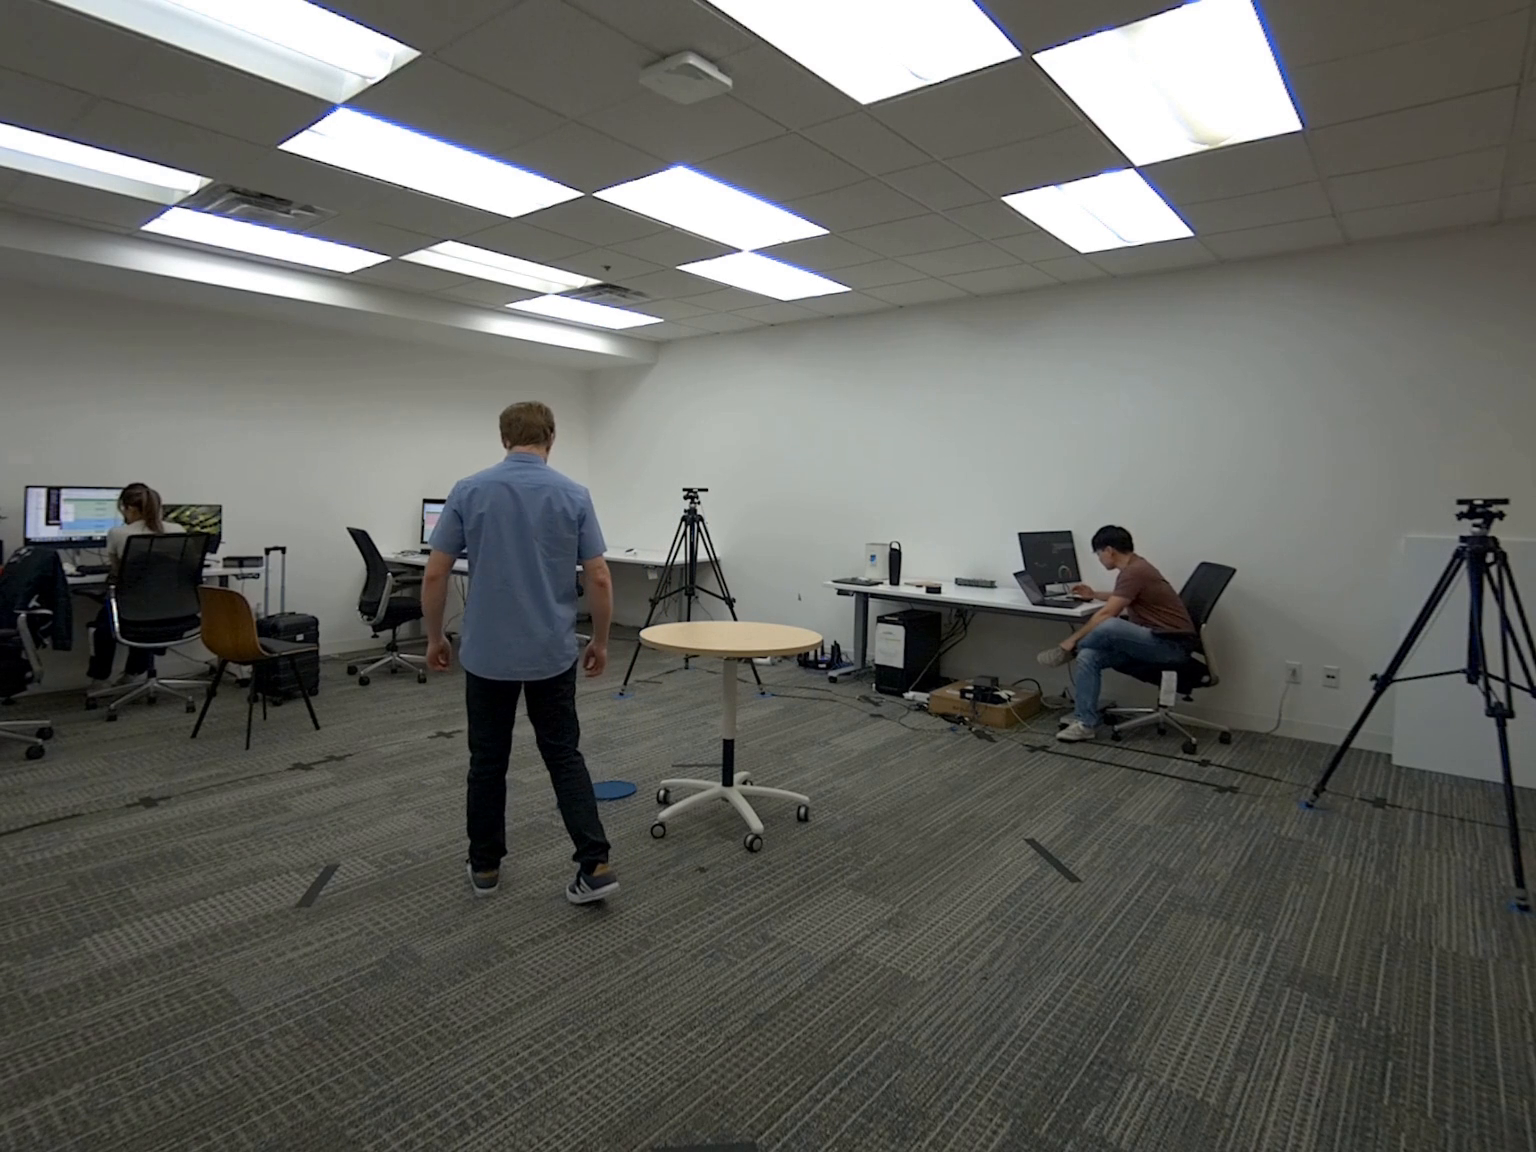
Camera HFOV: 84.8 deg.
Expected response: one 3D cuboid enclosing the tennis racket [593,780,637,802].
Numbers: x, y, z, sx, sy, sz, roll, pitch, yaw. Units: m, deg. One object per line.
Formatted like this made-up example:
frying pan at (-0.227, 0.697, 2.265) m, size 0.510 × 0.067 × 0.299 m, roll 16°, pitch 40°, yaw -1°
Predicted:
tennis racket at (-0.786, 0.977, 3.832) m, size 0.221 × 0.031 × 0.420 m, roll 6°, pitch 6°, yaw 39°
